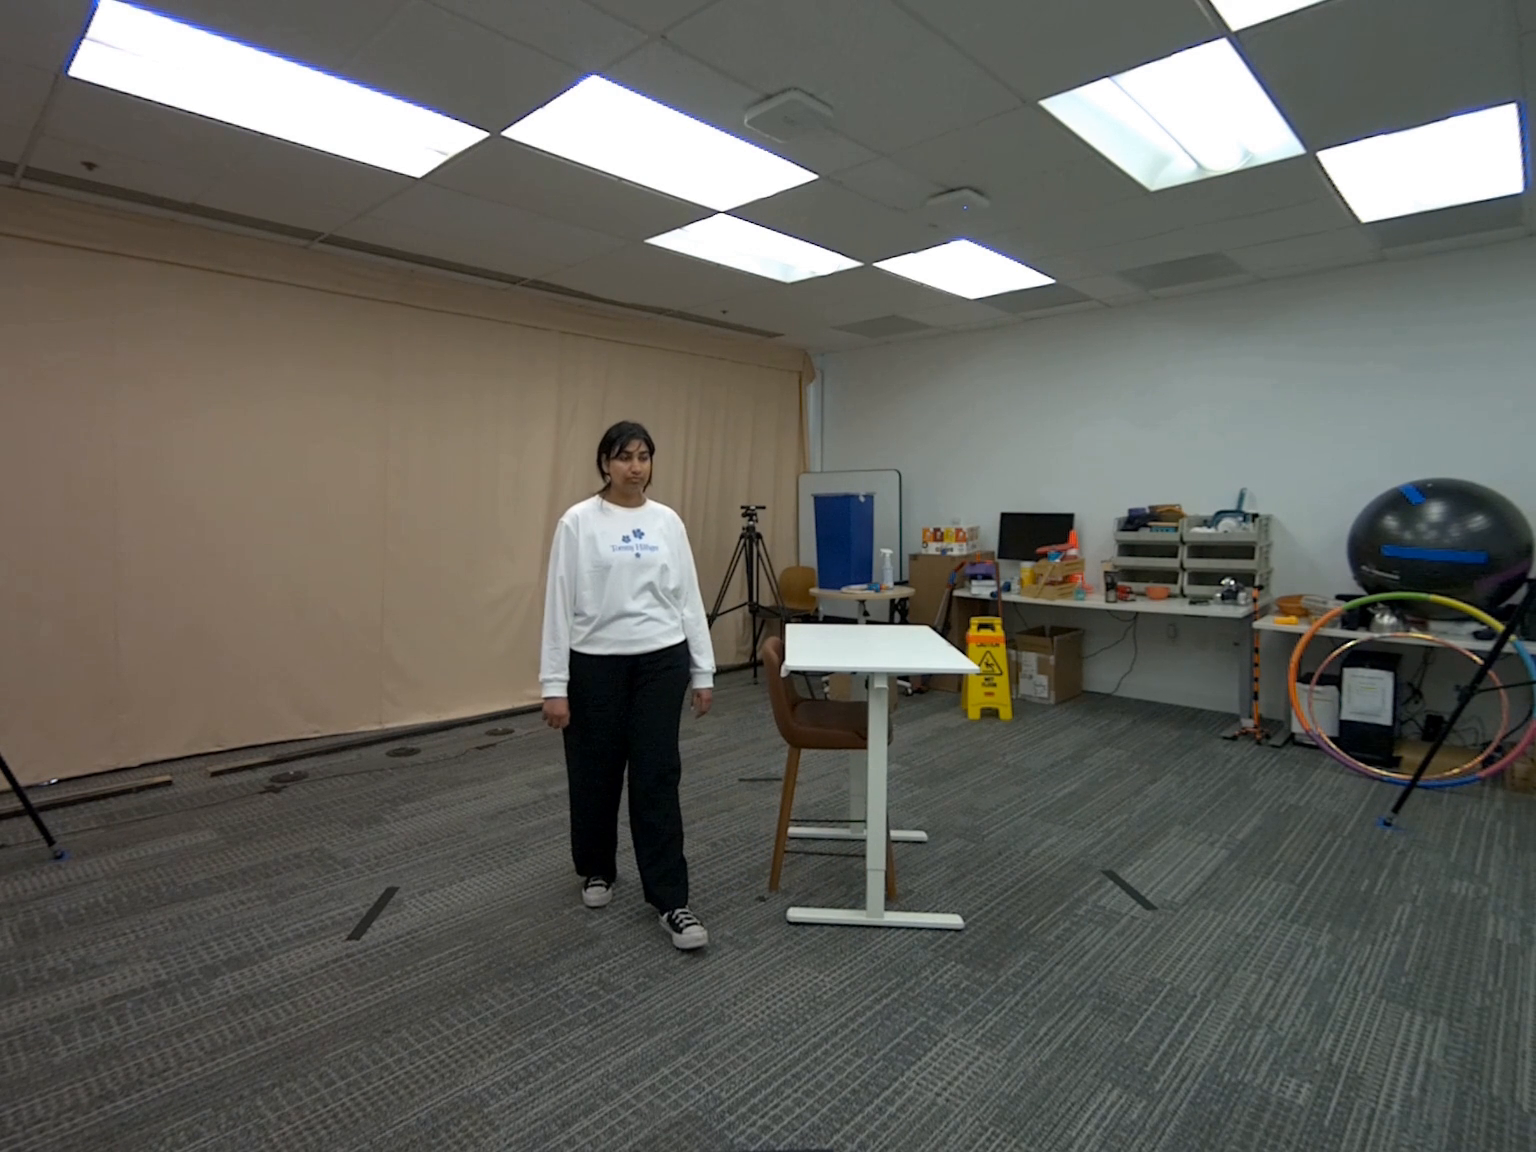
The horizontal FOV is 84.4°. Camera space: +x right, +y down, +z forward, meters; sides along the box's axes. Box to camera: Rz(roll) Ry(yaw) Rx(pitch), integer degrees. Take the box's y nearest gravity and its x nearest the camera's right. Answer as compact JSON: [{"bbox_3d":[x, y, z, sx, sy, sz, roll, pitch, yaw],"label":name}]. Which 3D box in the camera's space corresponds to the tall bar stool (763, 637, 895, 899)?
[{"bbox_3d":[0.237,0.698,3.181,0.472,0.888,0.453,-1,2,7],"label":"tall bar stool"}]
